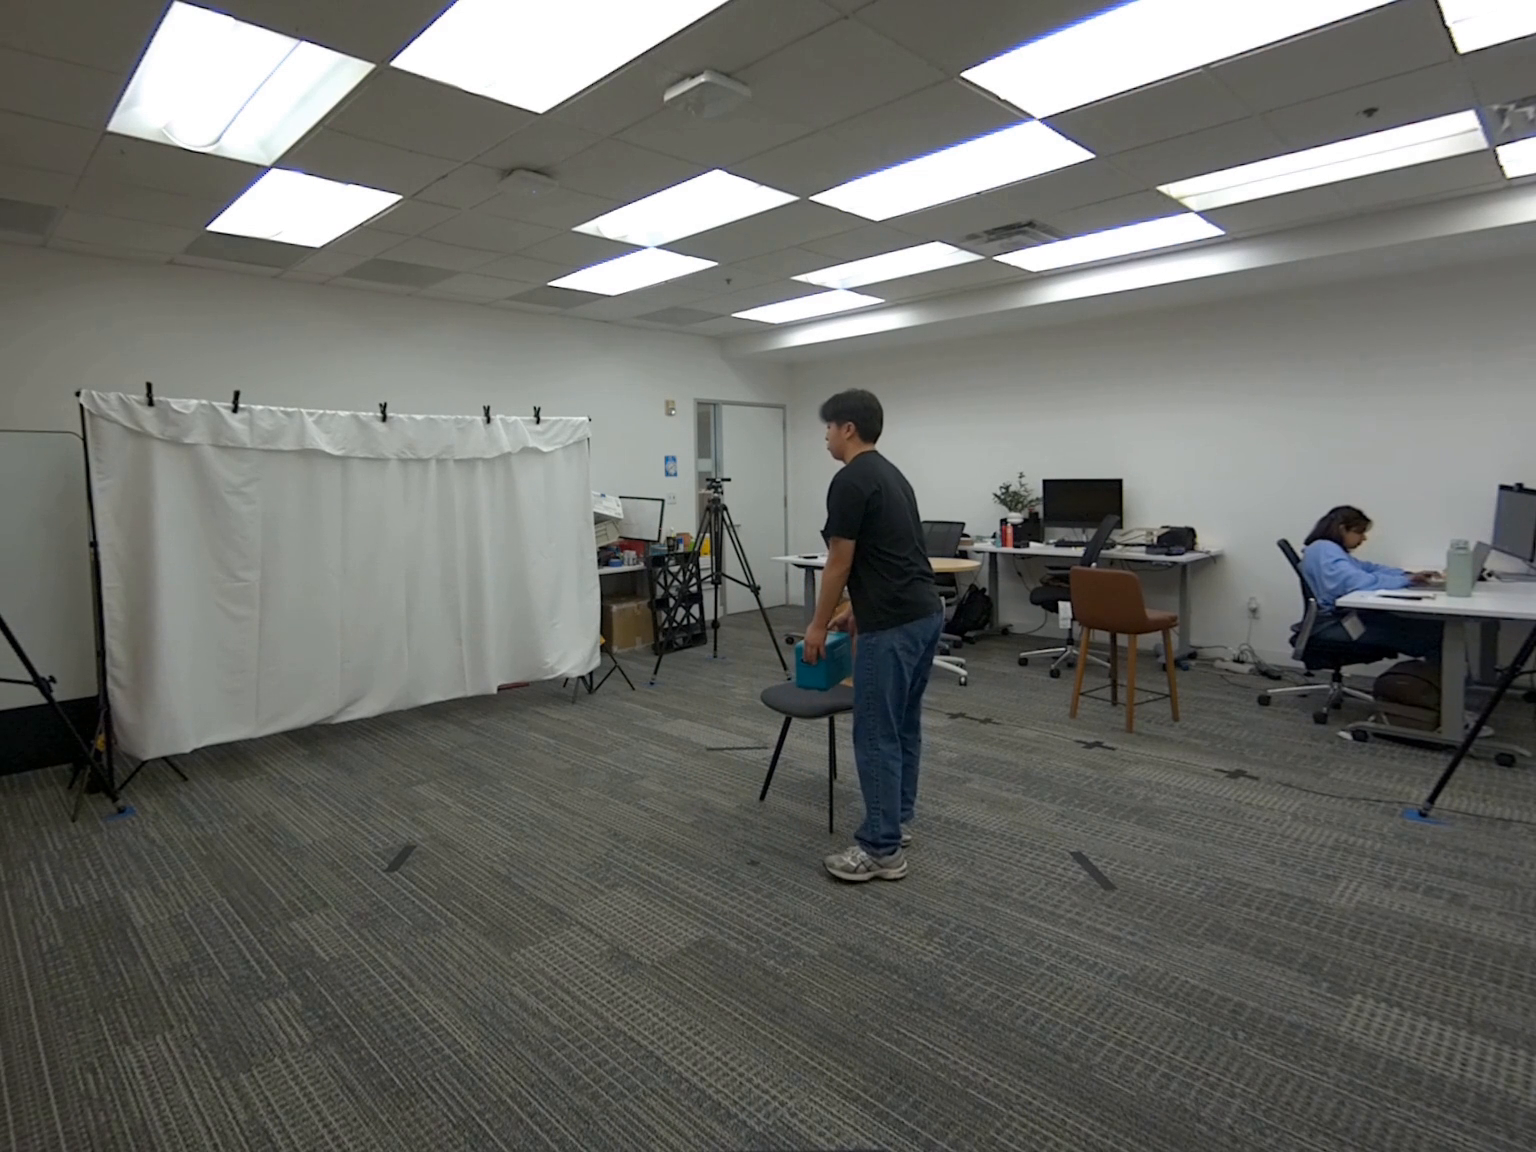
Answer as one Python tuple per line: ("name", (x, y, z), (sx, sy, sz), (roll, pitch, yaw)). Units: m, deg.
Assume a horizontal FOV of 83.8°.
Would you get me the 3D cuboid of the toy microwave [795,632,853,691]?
("toy microwave", (0.218, 0.333, 3.346), (0.156, 0.183, 0.280), (1, 8, 29))
